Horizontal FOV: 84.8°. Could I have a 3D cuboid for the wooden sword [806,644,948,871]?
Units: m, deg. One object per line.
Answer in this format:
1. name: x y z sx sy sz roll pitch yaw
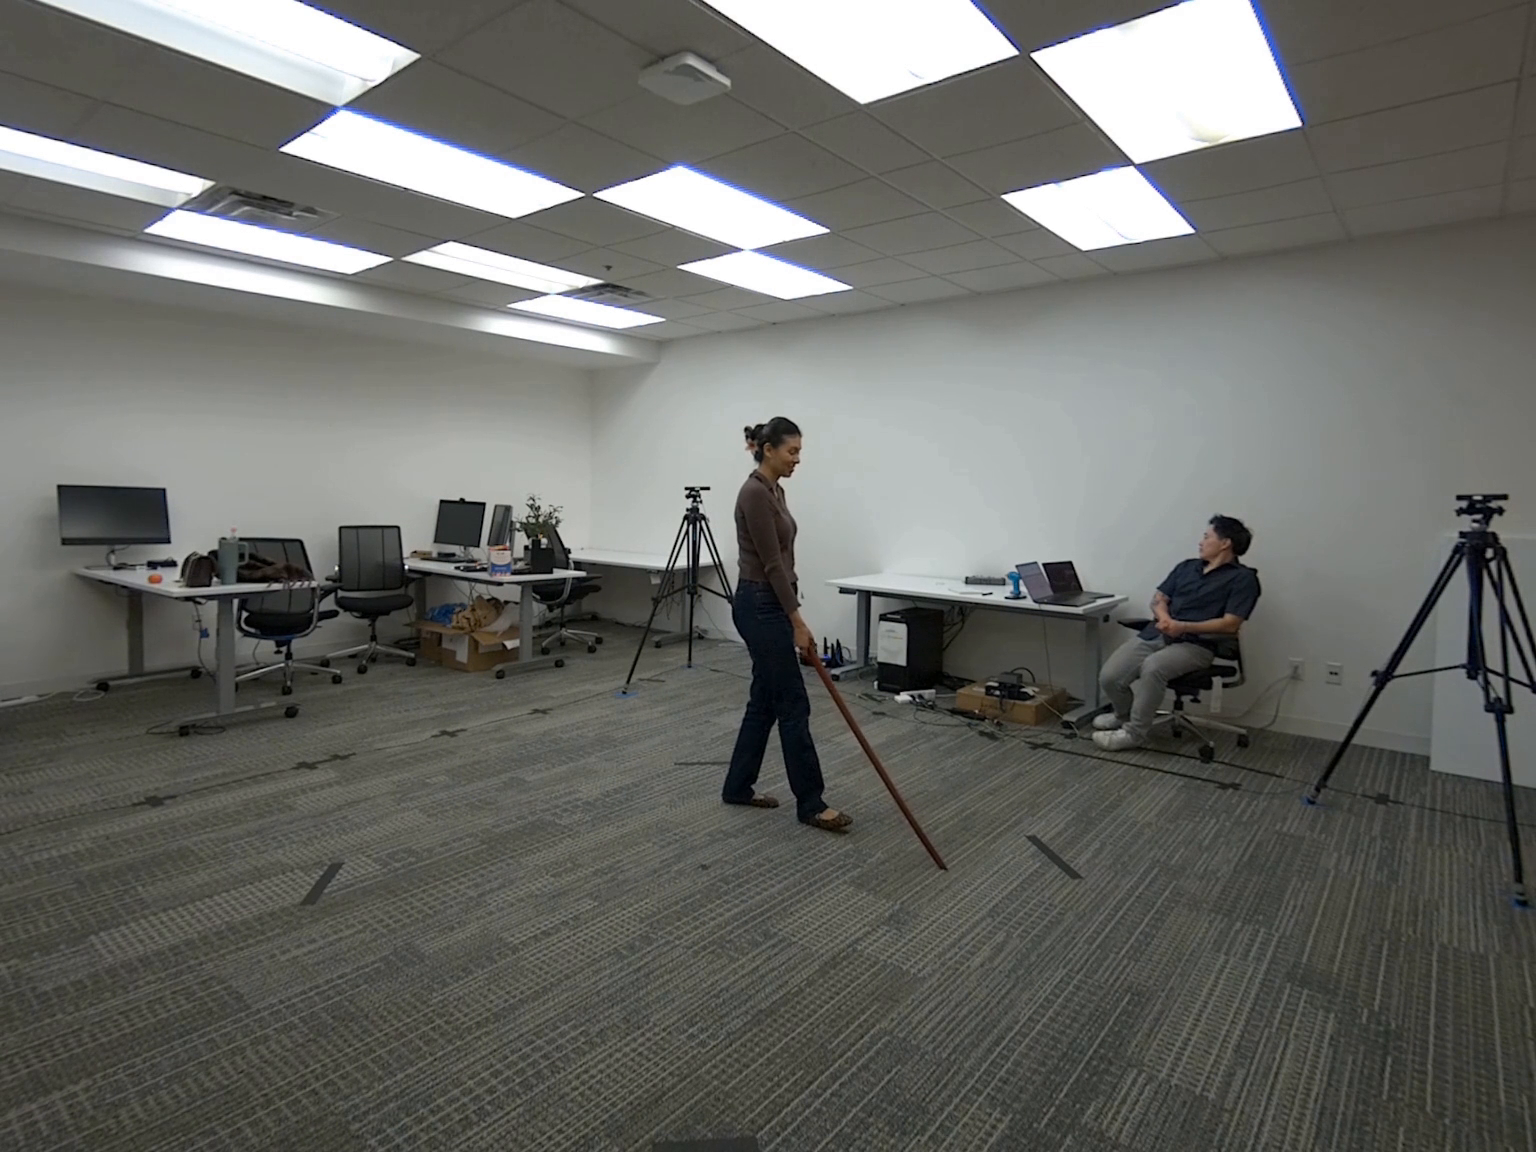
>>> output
1. wooden sword: 0.395 0.674 3.325 0.024 1.054 0.050 -35 -21 7
